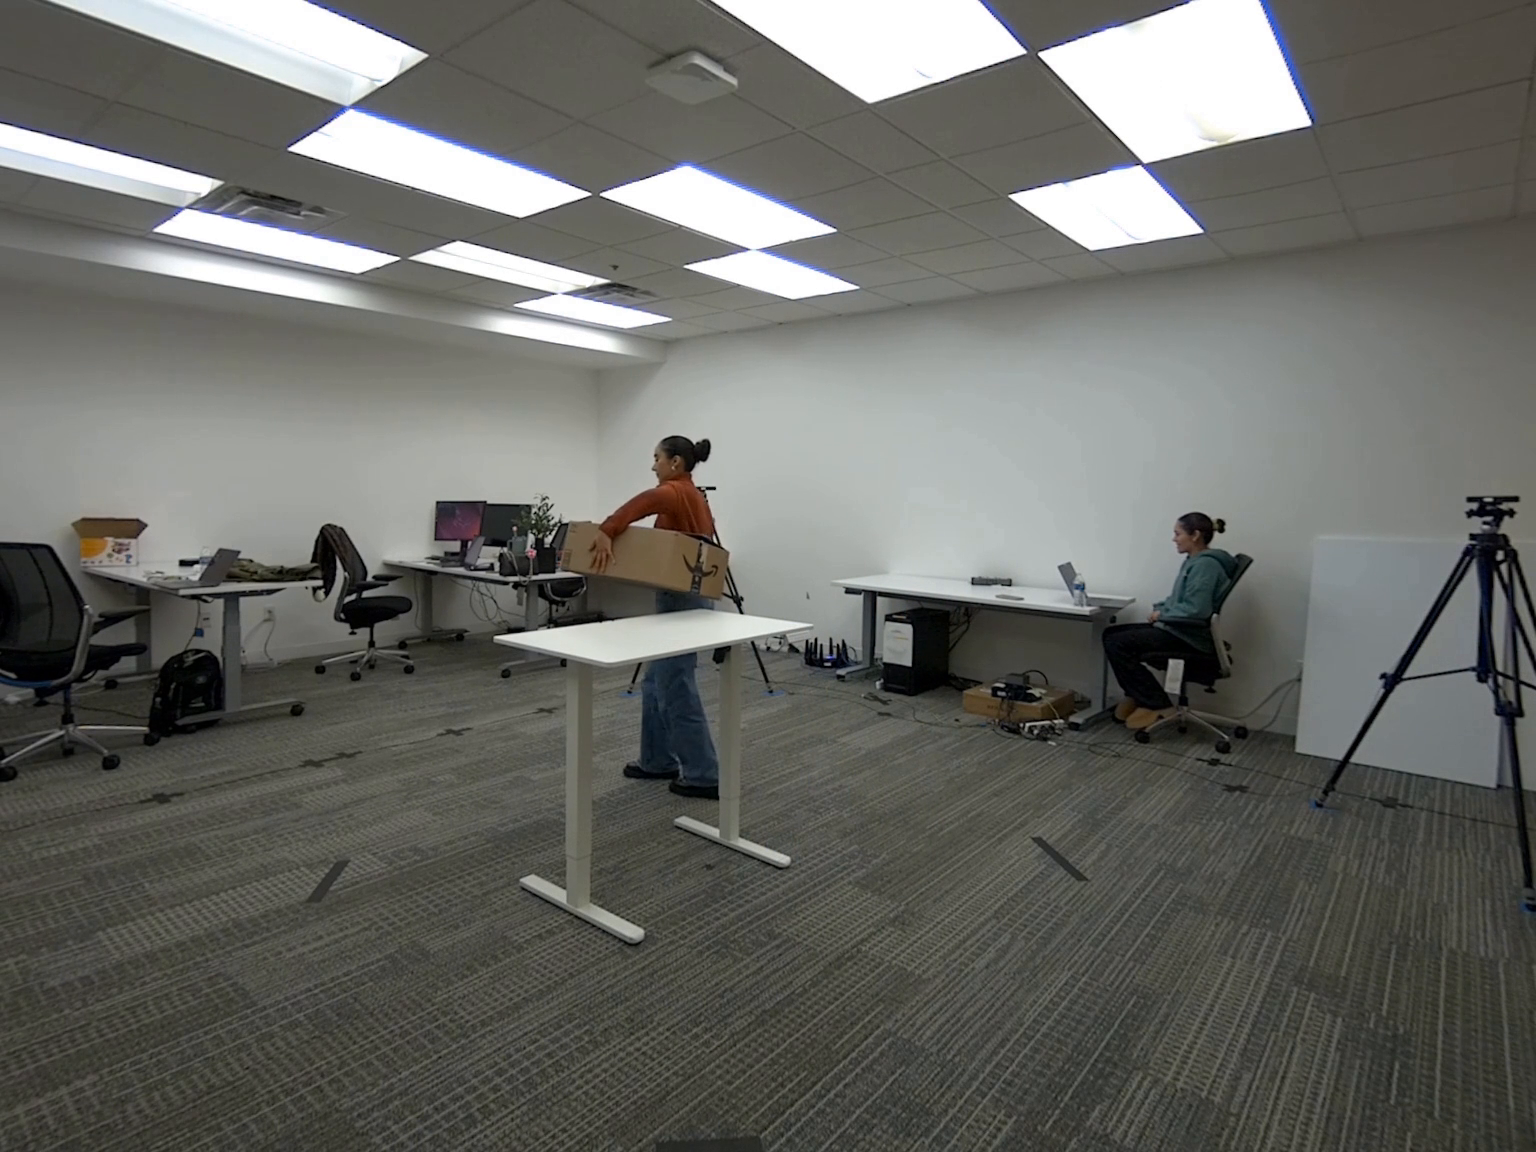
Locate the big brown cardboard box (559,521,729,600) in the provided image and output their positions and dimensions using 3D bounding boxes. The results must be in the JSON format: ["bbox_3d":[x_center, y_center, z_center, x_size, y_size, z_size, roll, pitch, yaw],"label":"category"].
[{"bbox_3d":[-0.533,-0.076,3.633,0.608,0.234,0.403,9,-5,31],"label":"big brown cardboard box"}]
